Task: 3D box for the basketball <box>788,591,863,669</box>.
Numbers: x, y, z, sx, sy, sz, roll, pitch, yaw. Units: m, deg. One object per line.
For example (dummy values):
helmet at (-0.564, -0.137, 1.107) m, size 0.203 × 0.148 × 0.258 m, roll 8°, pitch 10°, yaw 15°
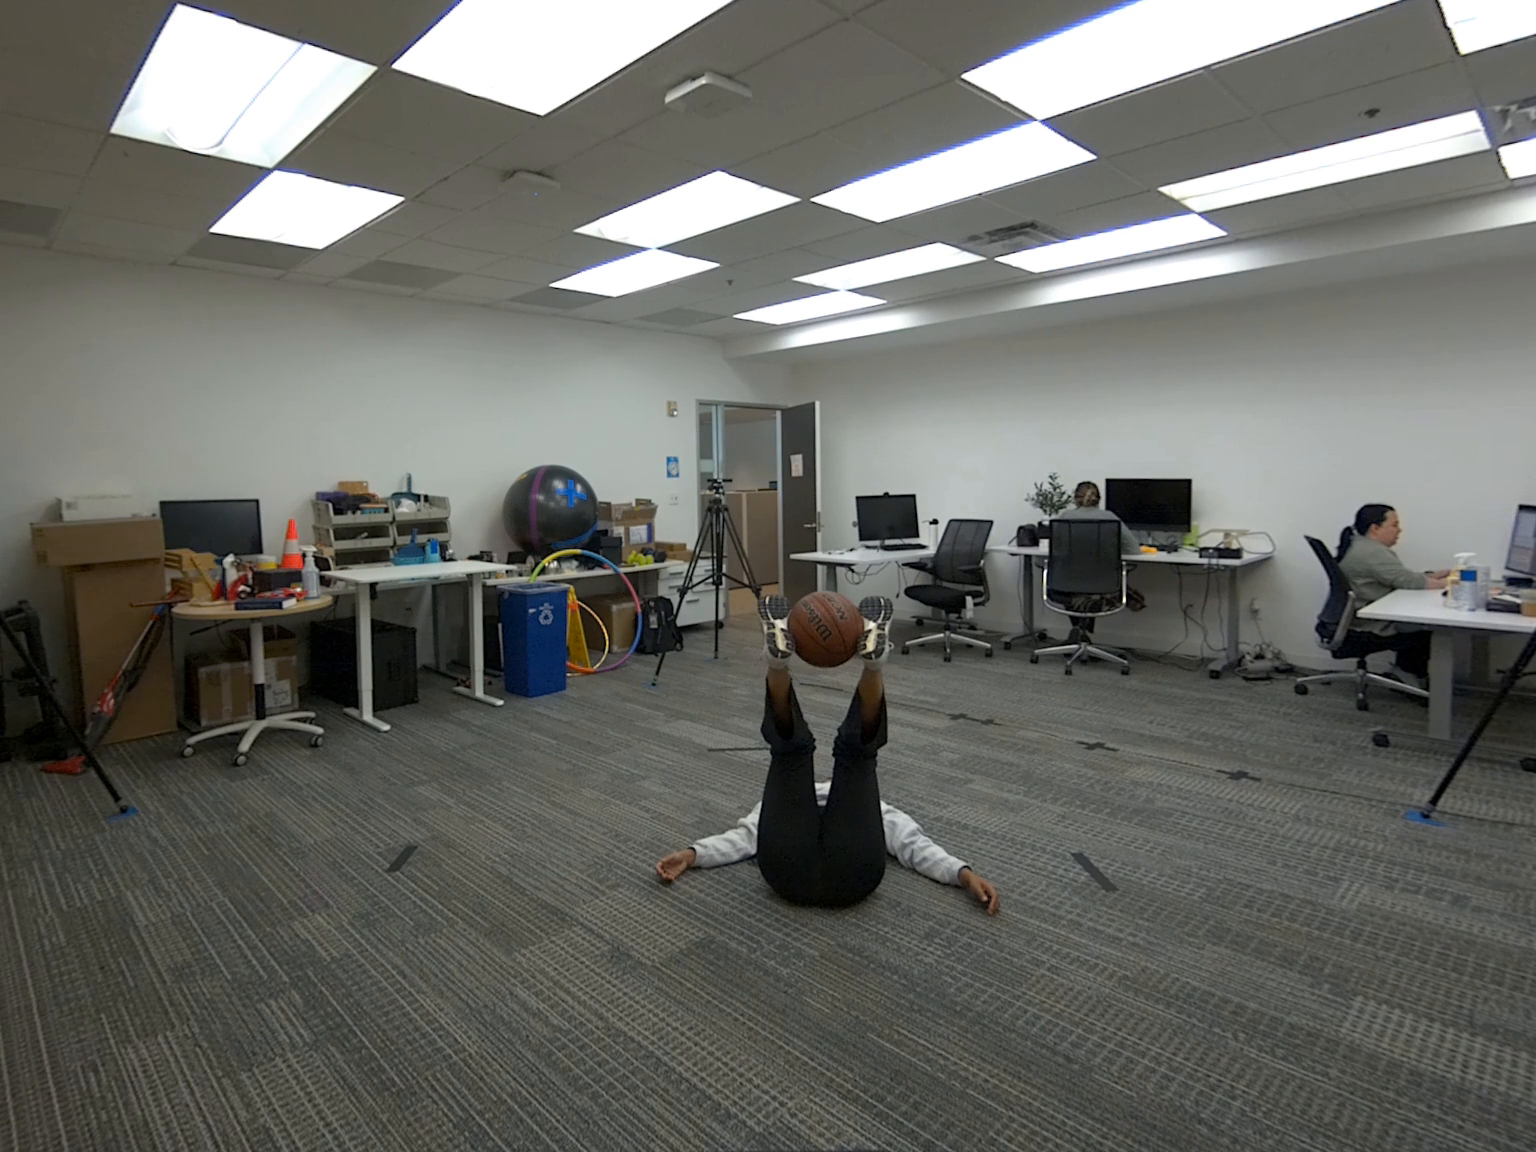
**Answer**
basketball at (0.186, 0.174, 2.662) m, size 0.236 × 0.235 × 0.236 m, roll -4°, pitch 2°, yaw -2°
